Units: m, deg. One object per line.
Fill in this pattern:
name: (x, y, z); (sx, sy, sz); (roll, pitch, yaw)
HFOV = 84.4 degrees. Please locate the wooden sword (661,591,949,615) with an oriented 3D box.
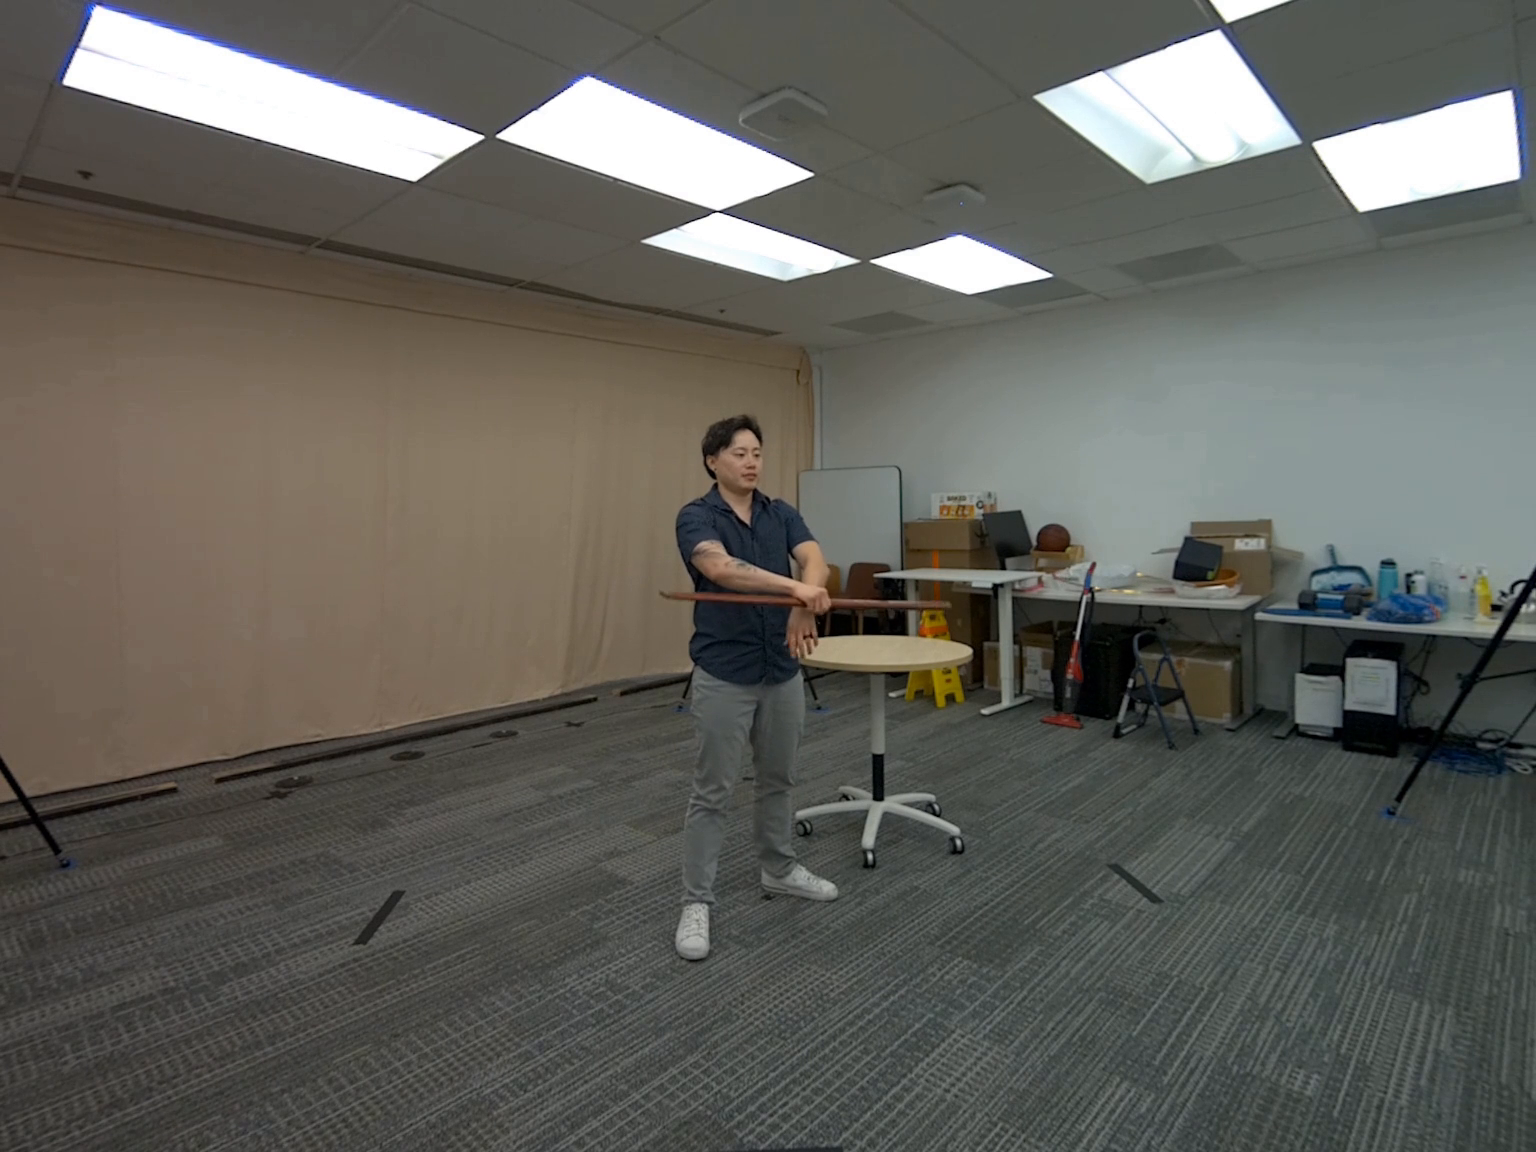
wooden sword: (0.166, 0.085, 2.501); (0.997, 0.024, 0.053); (4, 16, -28)
